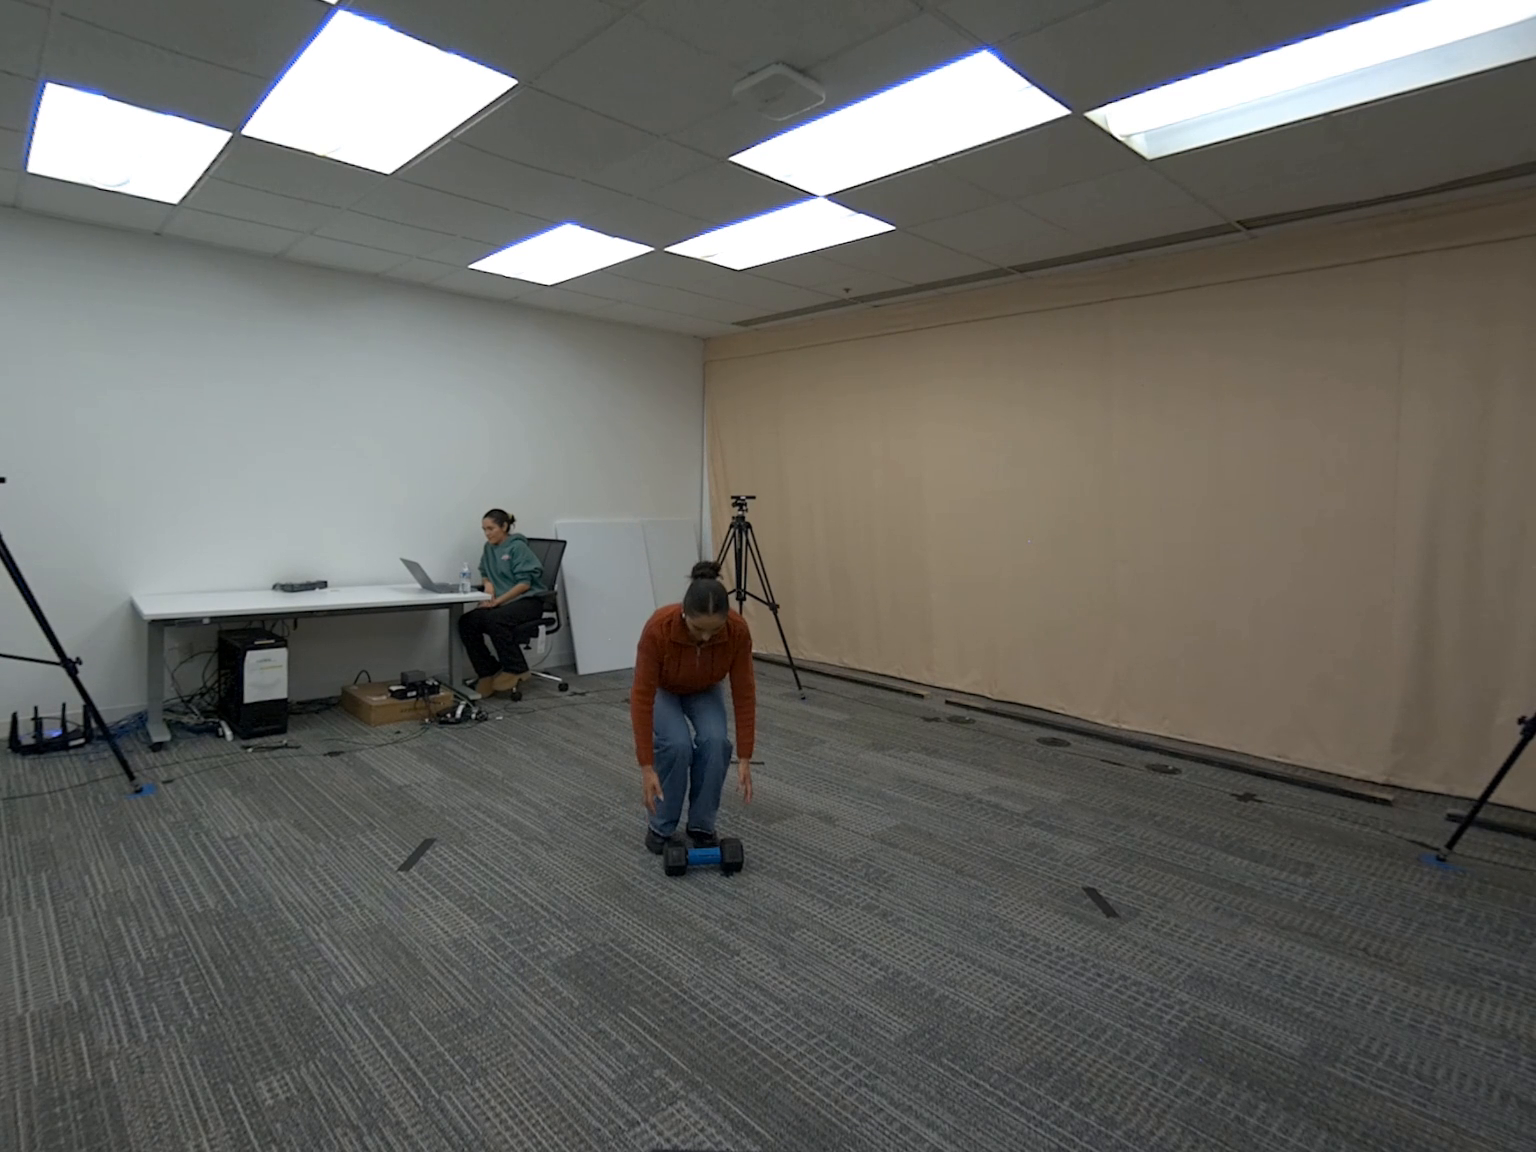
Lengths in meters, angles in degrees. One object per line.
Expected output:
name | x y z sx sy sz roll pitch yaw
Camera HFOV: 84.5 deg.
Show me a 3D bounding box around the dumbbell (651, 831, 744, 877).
dumbbell | -0.248 1.043 3.127 0.291 0.125 0.107 0 -27 -10
